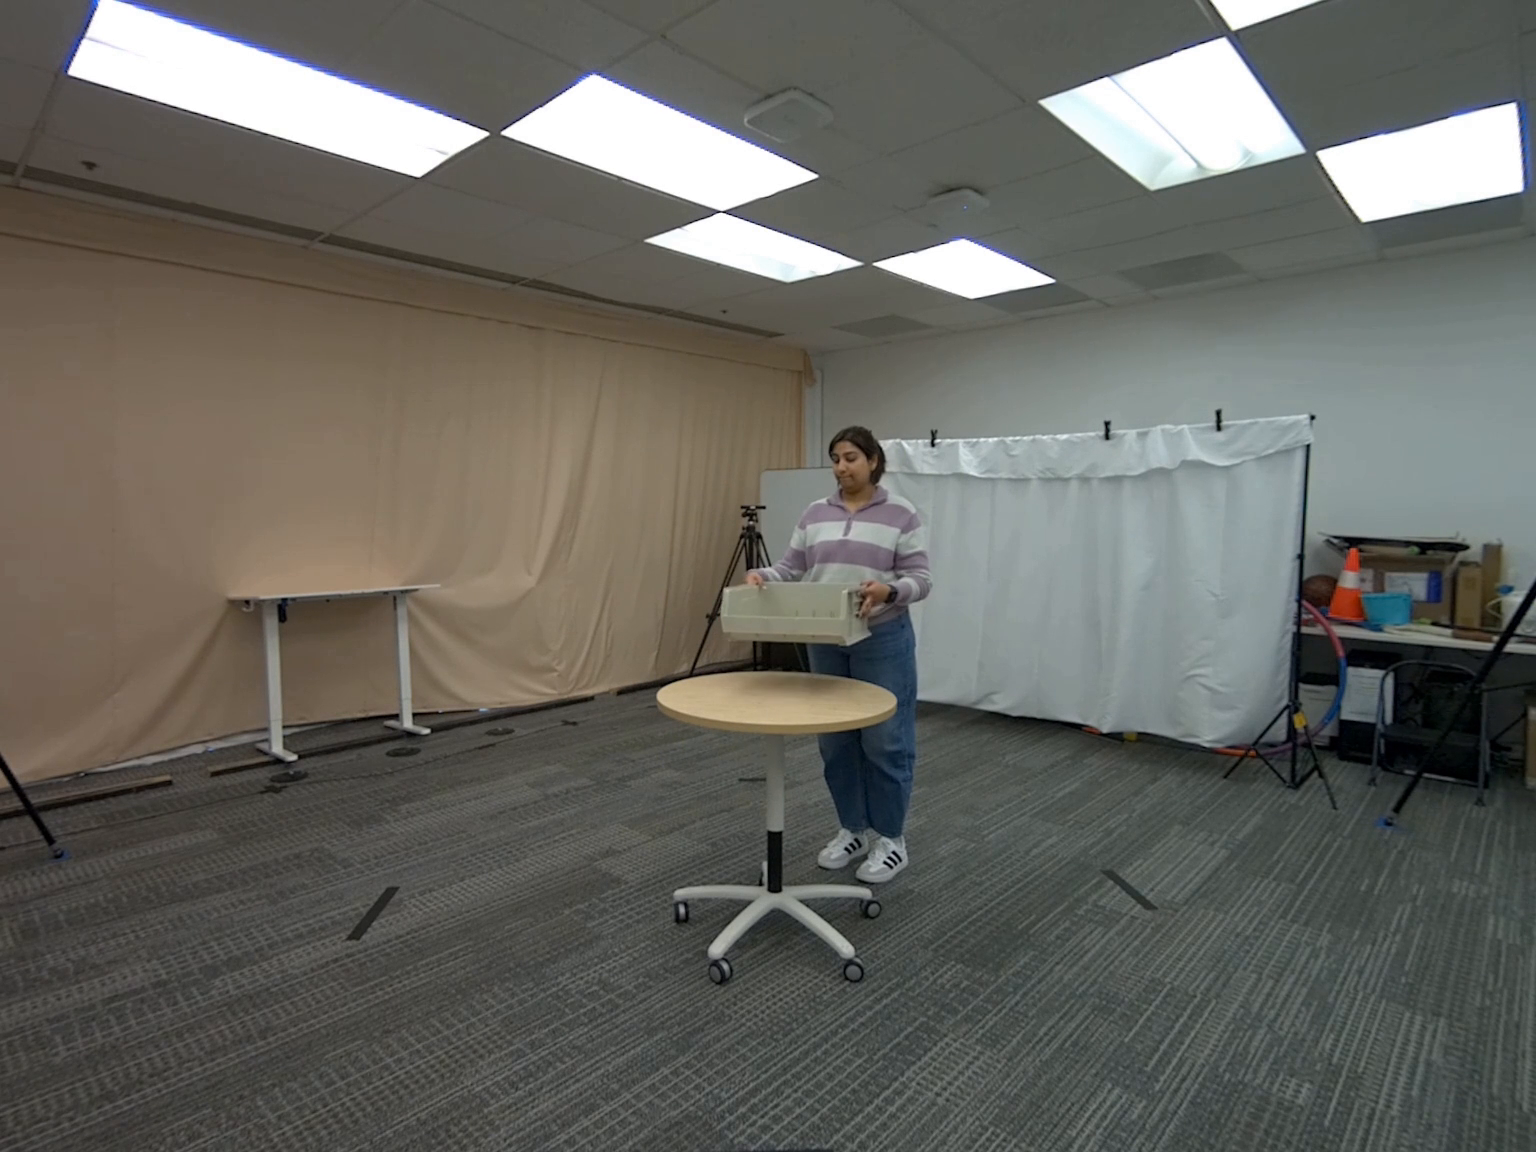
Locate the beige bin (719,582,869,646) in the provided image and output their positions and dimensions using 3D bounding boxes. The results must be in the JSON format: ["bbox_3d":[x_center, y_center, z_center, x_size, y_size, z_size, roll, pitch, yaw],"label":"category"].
[{"bbox_3d":[0.112,0.128,2.851,0.431,0.189,0.369,-1,1,20],"label":"beige bin"}]
